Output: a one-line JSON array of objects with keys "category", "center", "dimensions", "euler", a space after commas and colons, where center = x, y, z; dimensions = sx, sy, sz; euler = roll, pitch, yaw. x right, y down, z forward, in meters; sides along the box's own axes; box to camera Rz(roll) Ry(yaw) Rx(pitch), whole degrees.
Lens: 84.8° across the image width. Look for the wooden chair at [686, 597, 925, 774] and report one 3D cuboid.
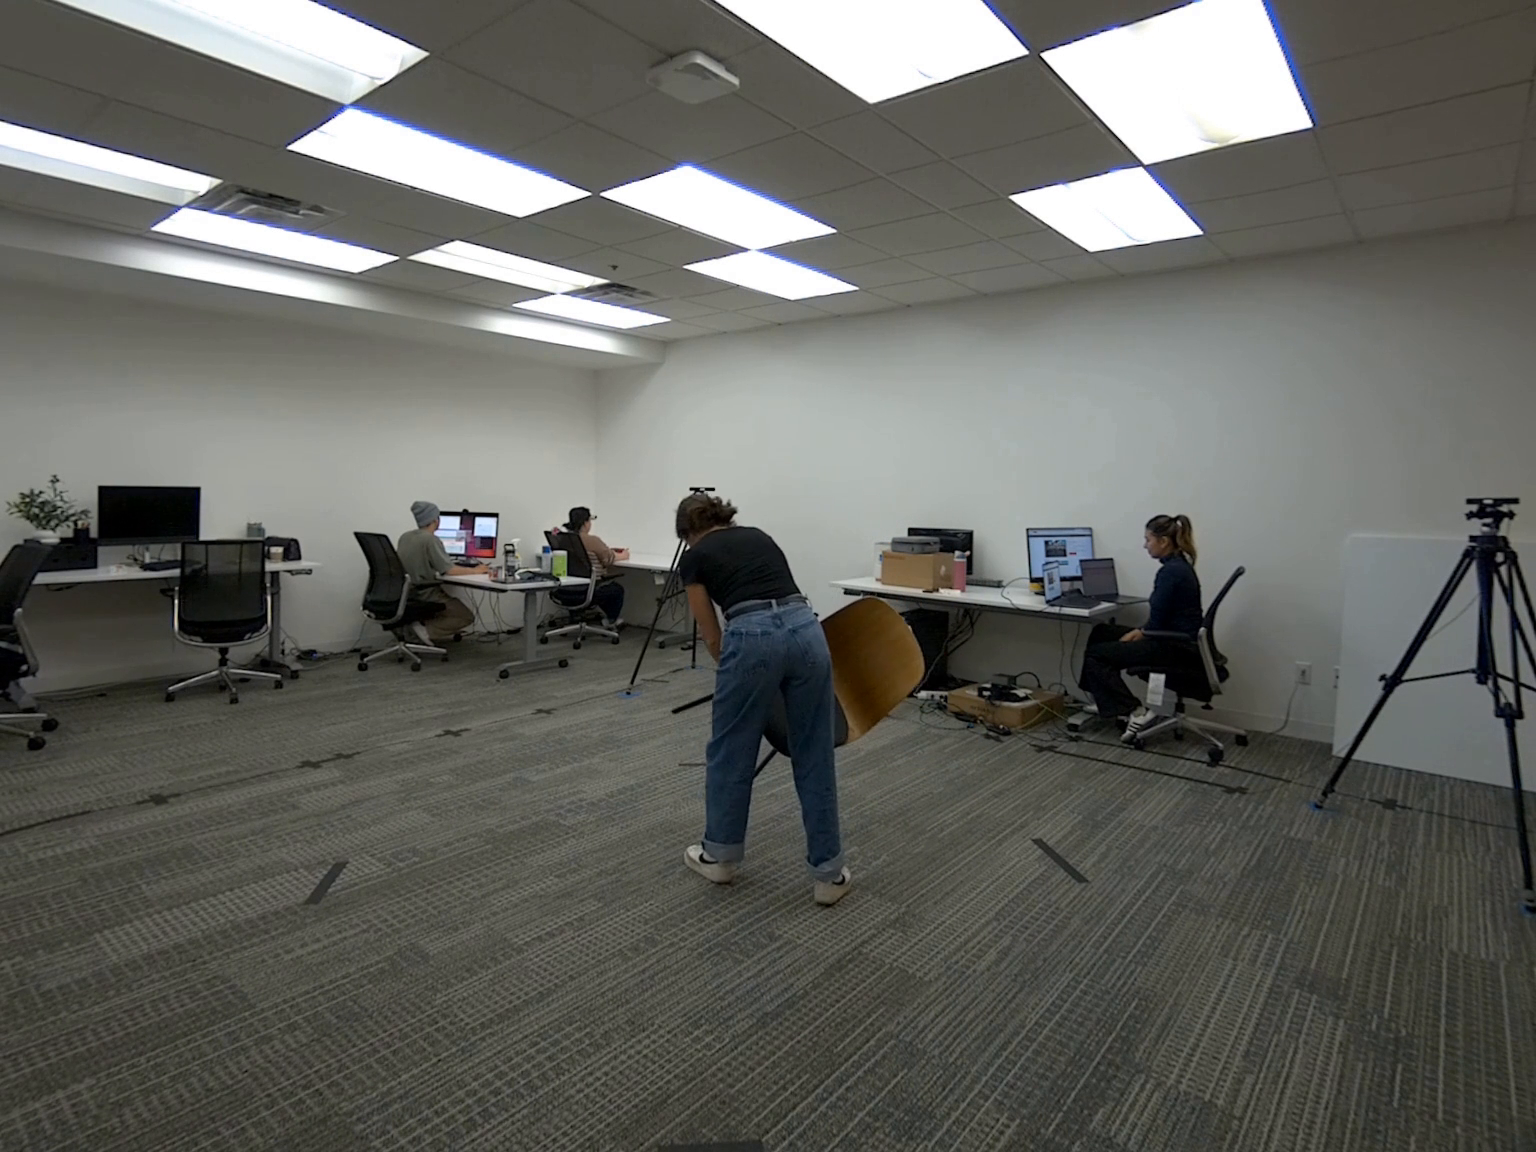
[{"category": "wooden chair", "center": [0.094, 0.468, 3.233], "dimensions": [0.507, 0.491, 0.880], "euler": [-3, -32, -50]}]
